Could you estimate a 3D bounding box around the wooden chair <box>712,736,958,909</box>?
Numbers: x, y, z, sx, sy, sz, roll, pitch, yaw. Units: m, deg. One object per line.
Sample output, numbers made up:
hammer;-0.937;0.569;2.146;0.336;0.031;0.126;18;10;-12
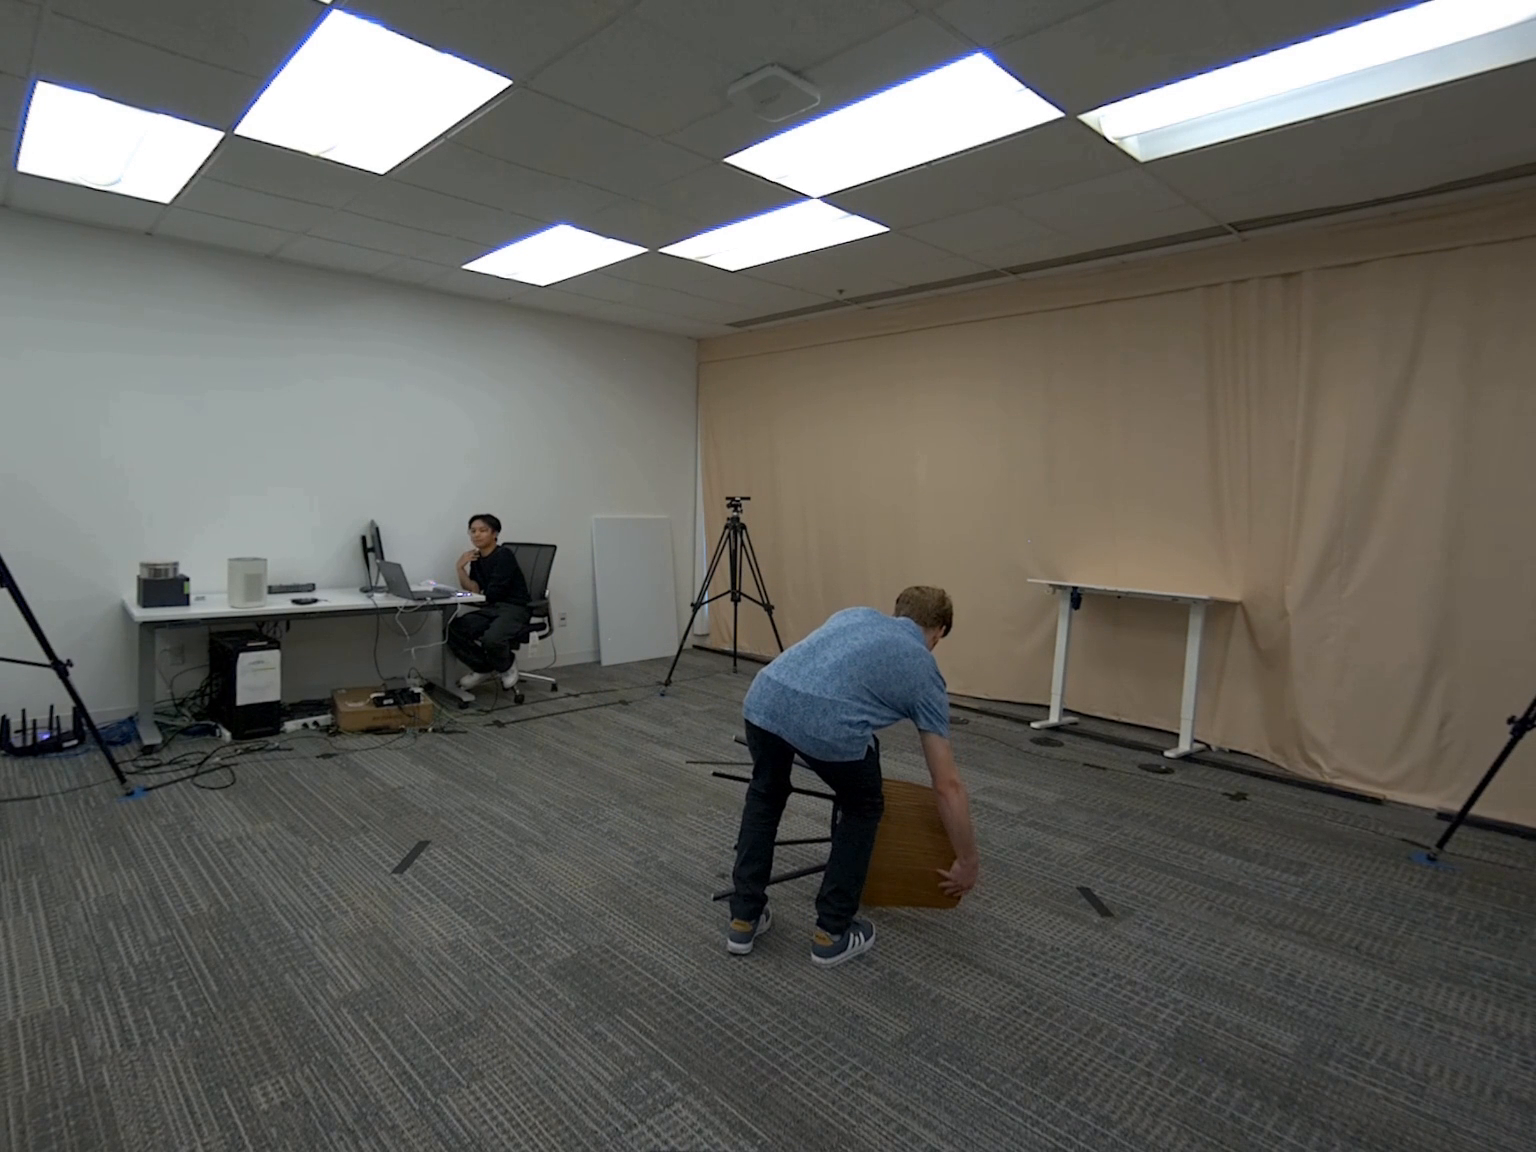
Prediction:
wooden chair;0.259;0.890;3.050;0.887;0.477;0.518;2;3;13
